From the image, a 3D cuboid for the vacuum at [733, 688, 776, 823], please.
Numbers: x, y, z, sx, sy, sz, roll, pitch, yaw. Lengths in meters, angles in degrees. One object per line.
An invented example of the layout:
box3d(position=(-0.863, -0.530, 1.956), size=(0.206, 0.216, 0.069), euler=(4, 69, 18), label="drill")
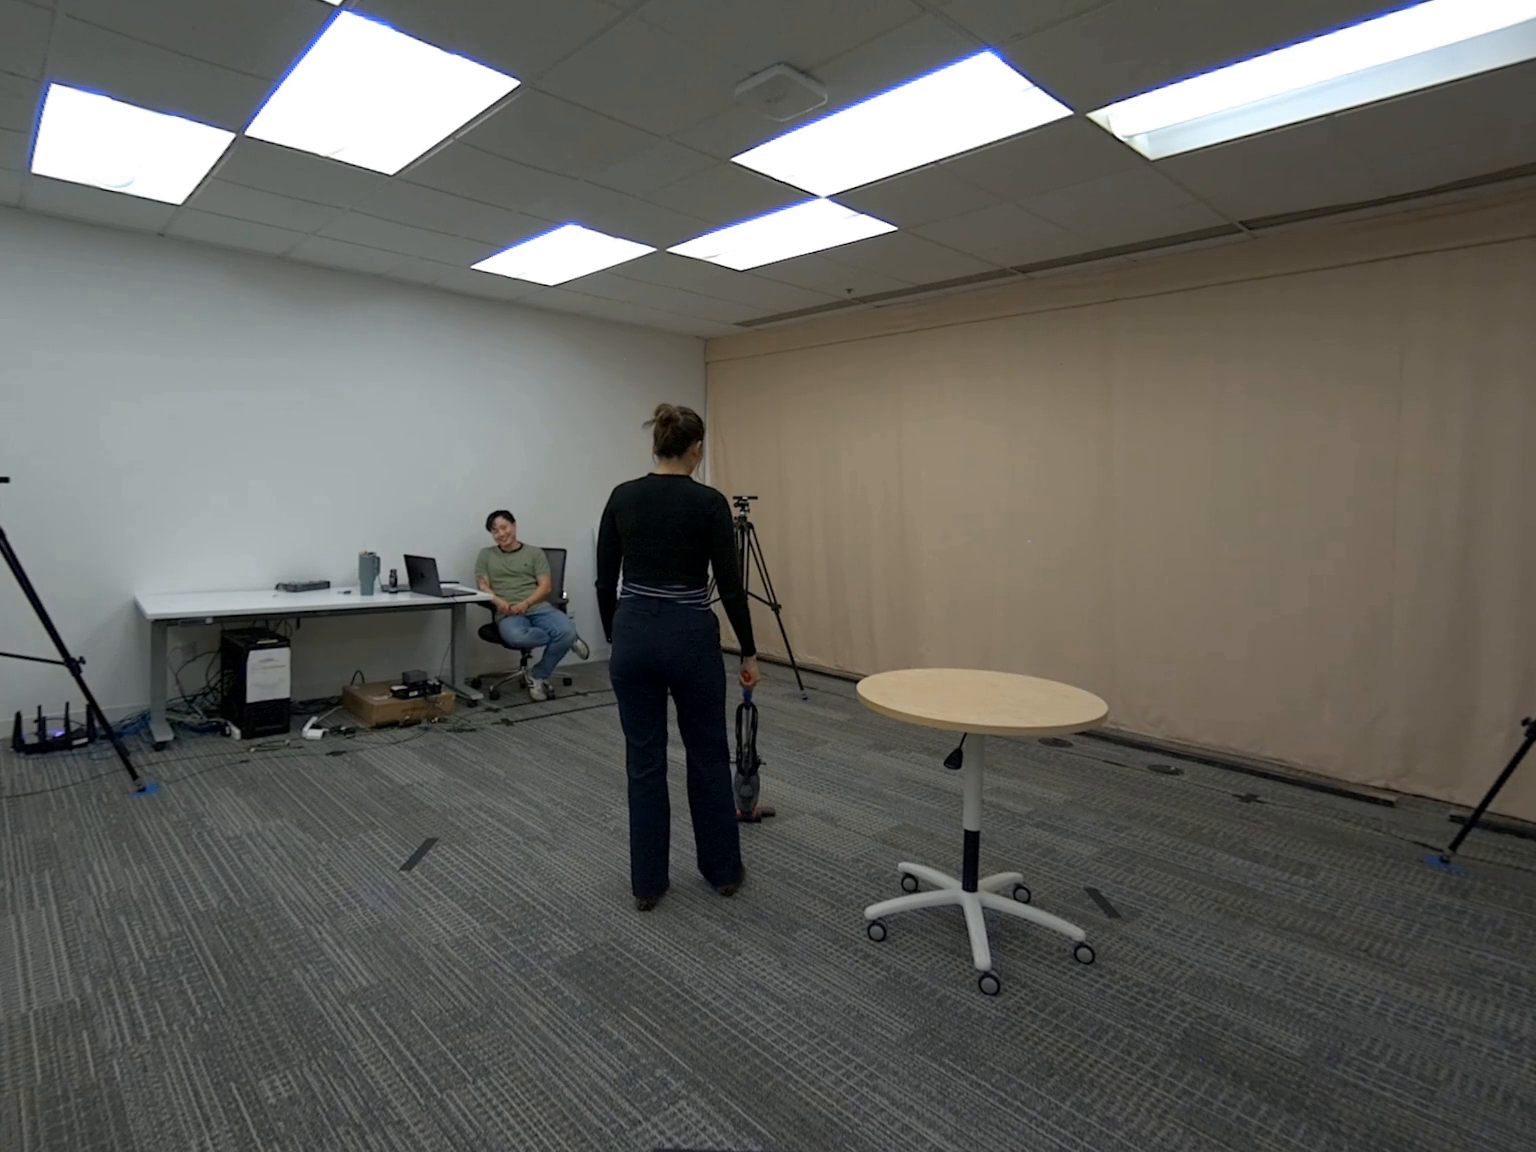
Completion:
box3d(position=(-0.090, 0.697, 3.299), size=(0.253, 0.147, 1.026), euler=(1, -42, 0), label="vacuum")
